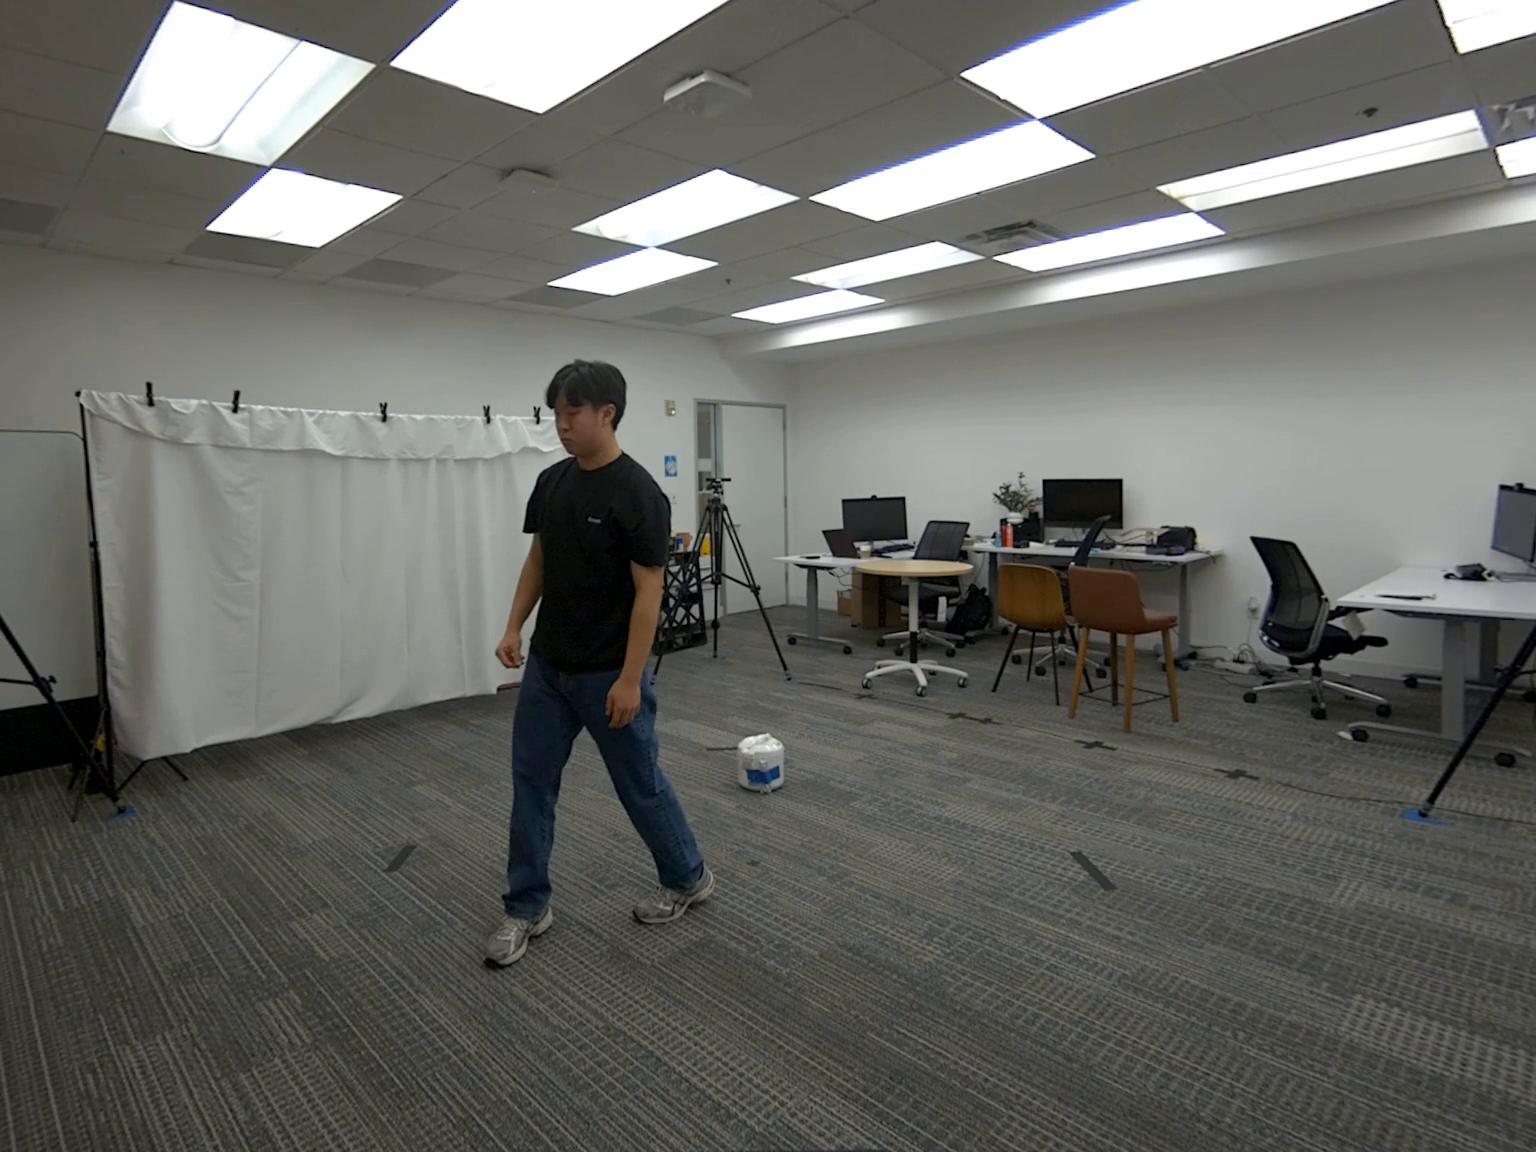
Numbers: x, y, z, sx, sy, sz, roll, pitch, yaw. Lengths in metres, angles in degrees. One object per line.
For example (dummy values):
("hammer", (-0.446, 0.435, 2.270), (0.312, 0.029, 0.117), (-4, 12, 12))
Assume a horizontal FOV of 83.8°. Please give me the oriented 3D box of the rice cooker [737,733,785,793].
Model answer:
("rice cooker", (-0.032, 0.838, 3.879), (0.224, 0.232, 0.215), (3, 5, 36))
